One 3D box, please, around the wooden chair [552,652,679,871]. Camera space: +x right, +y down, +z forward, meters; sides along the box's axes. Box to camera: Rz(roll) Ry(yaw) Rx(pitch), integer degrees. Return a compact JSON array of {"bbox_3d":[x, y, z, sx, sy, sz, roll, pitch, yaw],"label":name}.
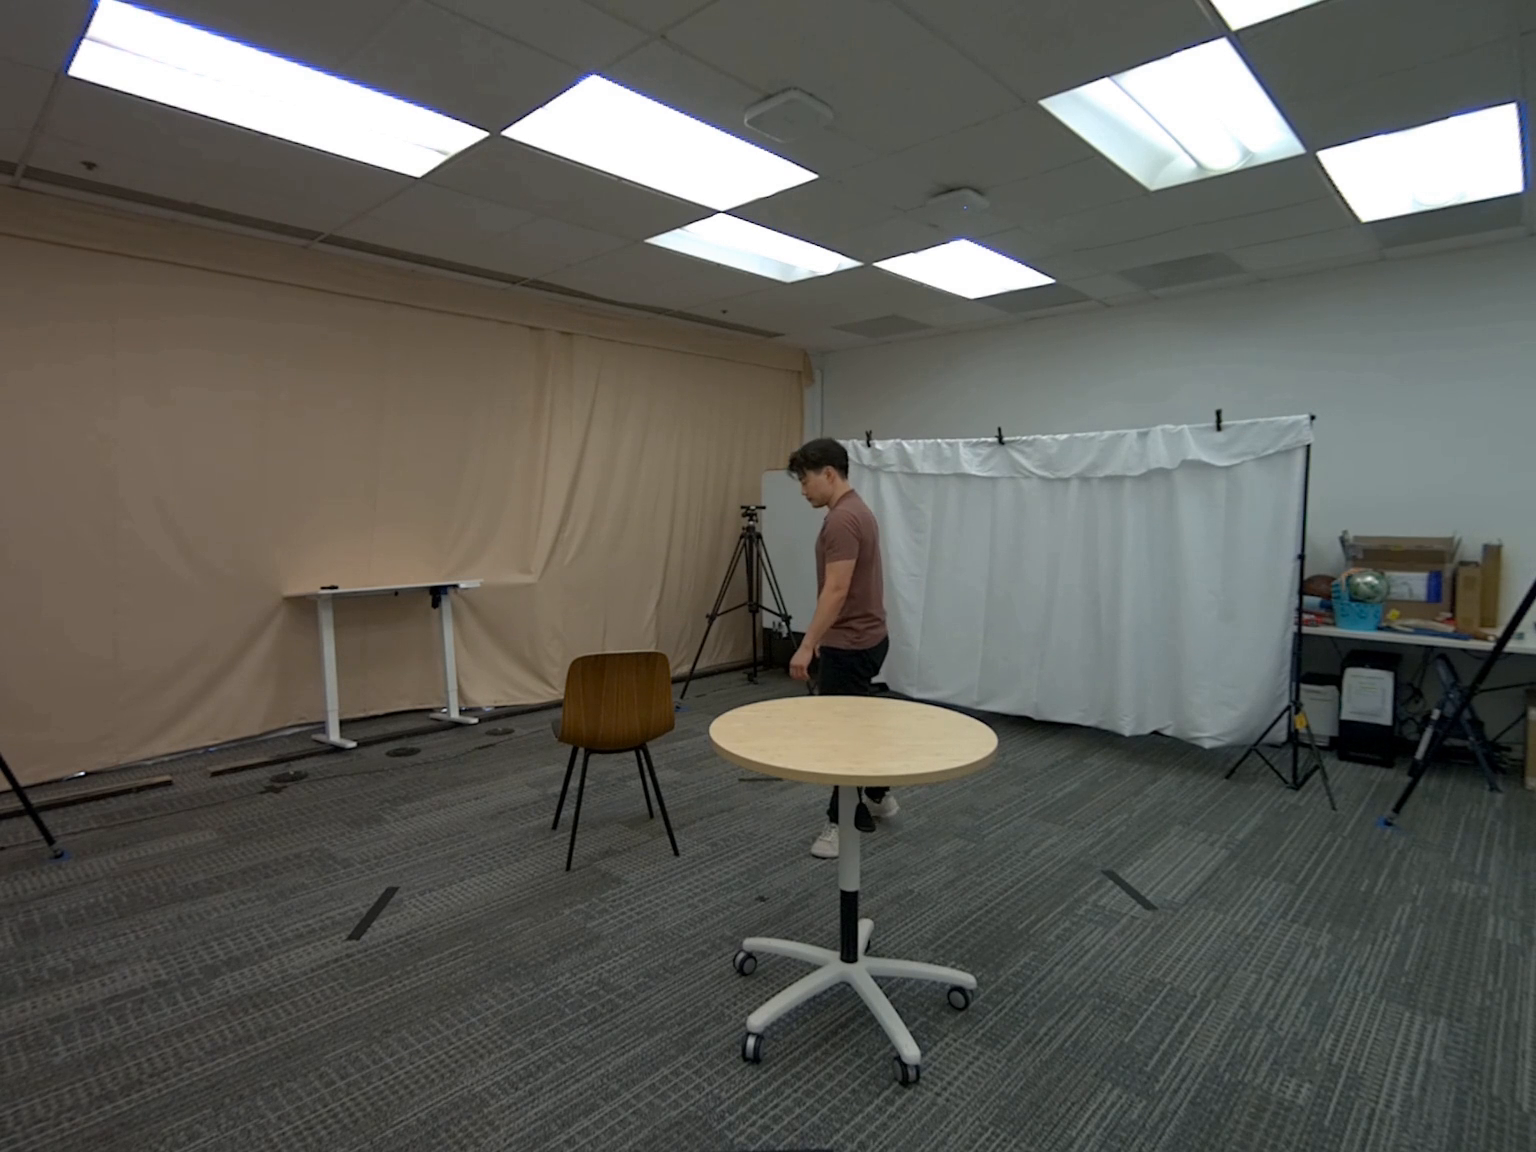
[{"bbox_3d":[-0.650,0.681,3.478,0.469,0.874,0.536,-1,7,-20],"label":"wooden chair"}]
